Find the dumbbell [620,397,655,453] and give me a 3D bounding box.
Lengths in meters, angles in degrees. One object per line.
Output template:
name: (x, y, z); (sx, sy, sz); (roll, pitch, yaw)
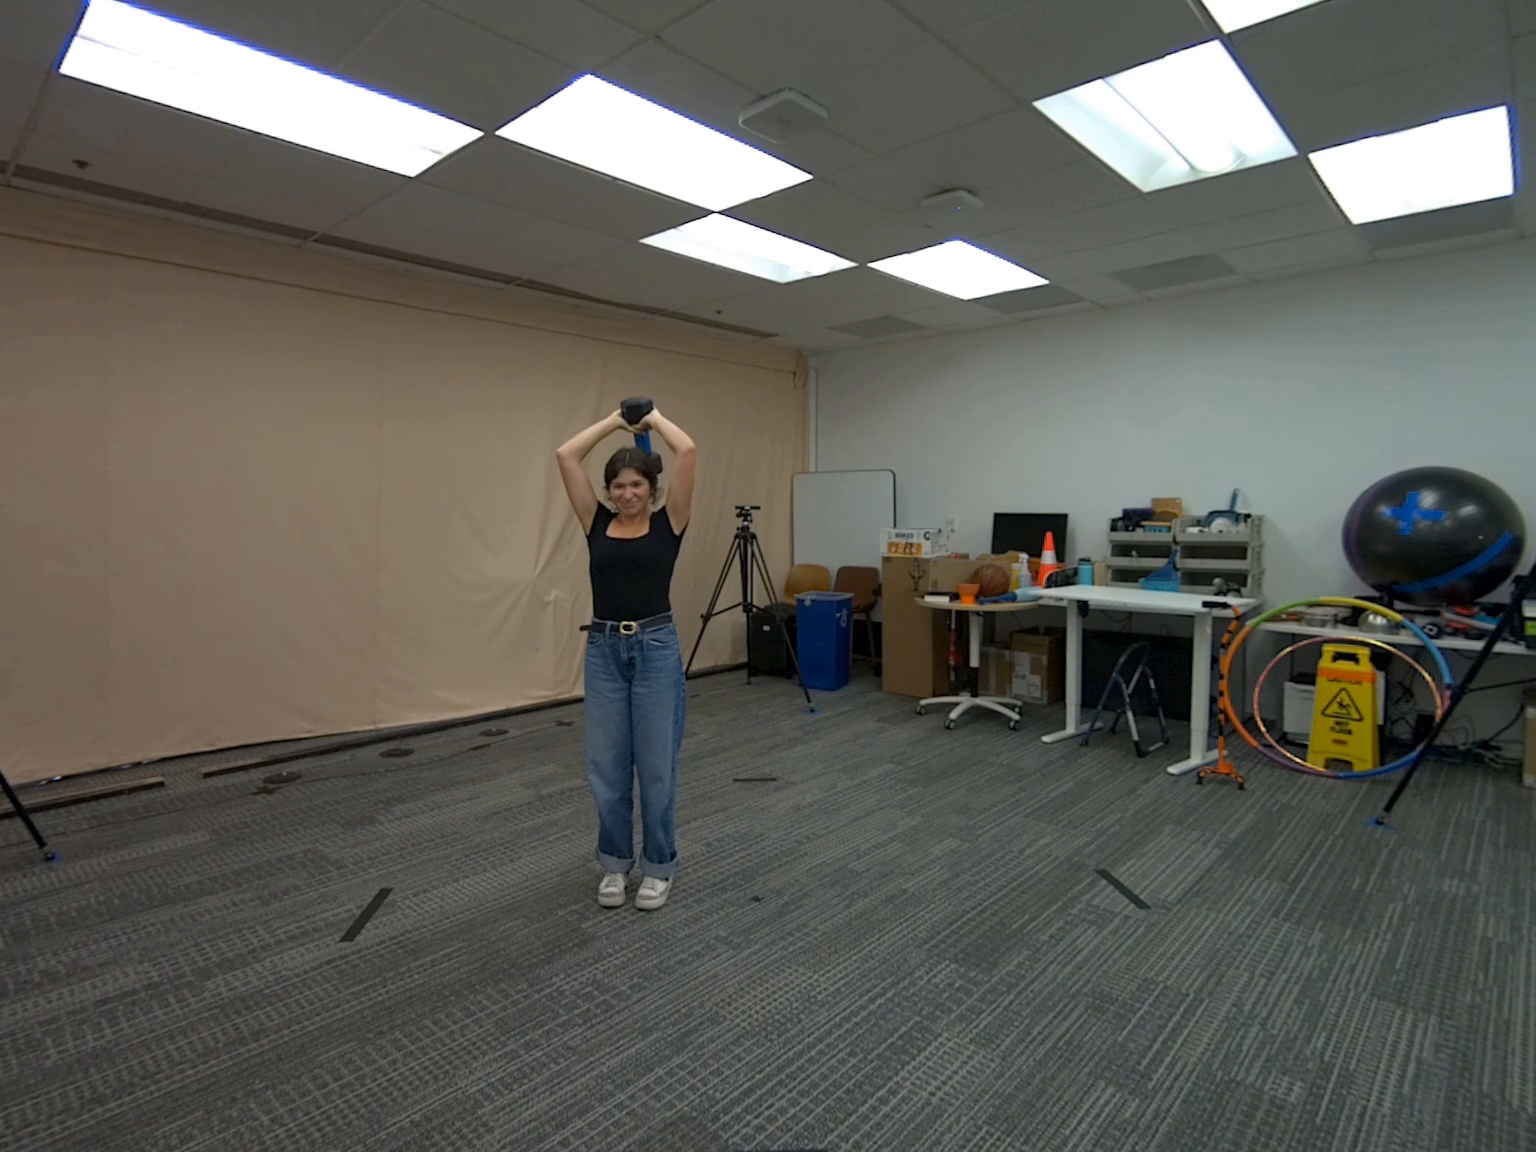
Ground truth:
dumbbell: (-0.472, -0.513, 3.143); (0.112, 0.289, 0.121); (7, 27, 35)
